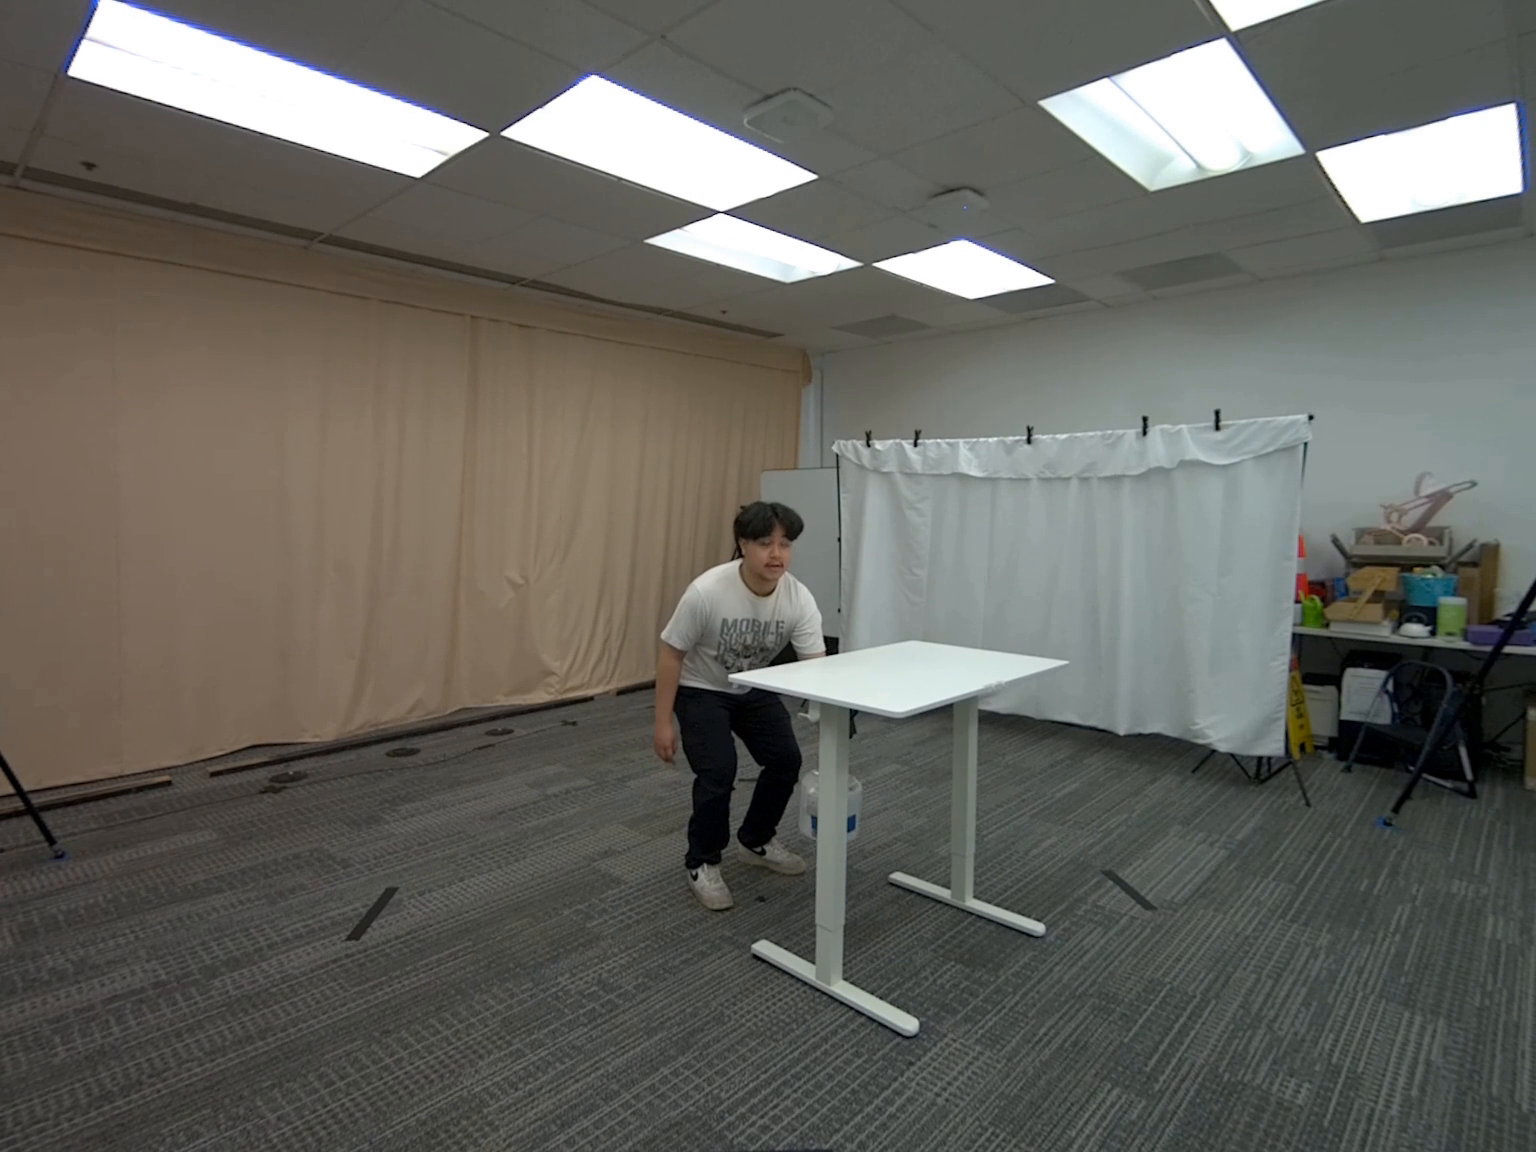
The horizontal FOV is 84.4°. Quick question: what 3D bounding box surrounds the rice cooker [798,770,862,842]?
[{"bbox_3d":[0.212,0.779,2.868,0.225,0.231,0.214,11,11,37],"label":"rice cooker"}]
